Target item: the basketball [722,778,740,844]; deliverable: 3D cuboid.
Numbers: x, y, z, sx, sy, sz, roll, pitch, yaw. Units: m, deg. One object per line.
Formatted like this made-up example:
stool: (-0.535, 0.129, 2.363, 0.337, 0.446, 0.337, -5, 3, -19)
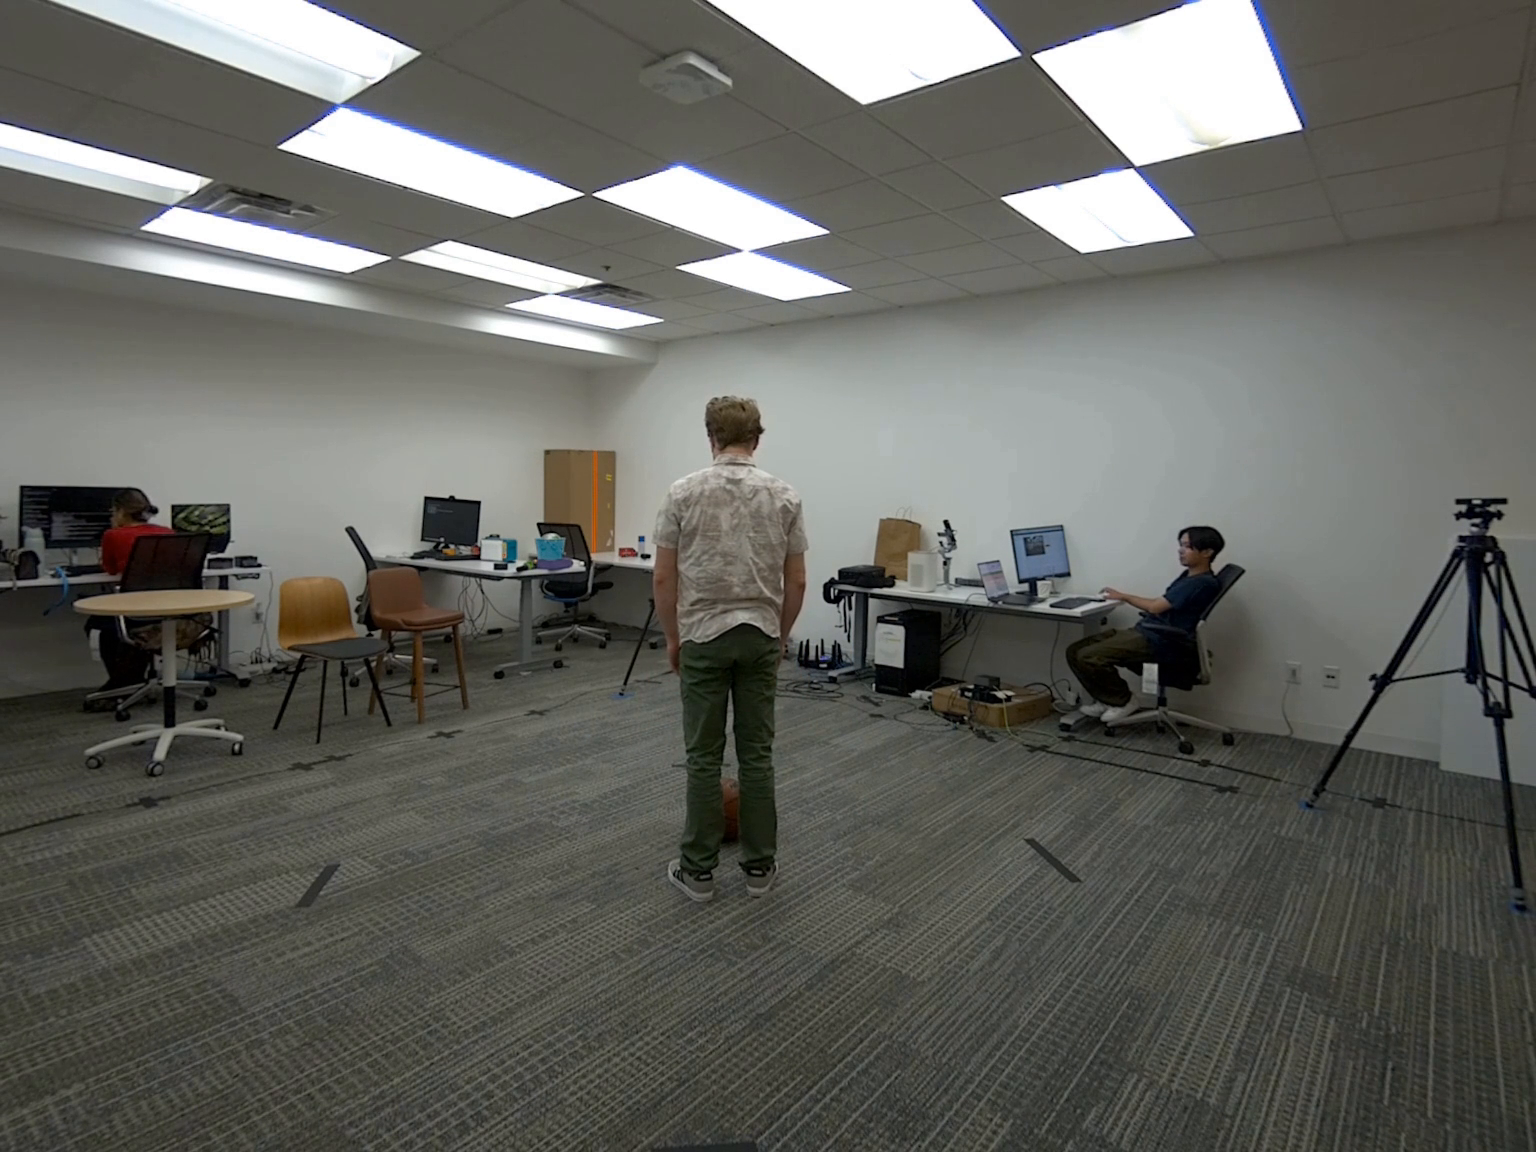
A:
basketball: (-0.178, 0.916, 3.382, 0.235, 0.235, 0.237, 1, 4, -2)
